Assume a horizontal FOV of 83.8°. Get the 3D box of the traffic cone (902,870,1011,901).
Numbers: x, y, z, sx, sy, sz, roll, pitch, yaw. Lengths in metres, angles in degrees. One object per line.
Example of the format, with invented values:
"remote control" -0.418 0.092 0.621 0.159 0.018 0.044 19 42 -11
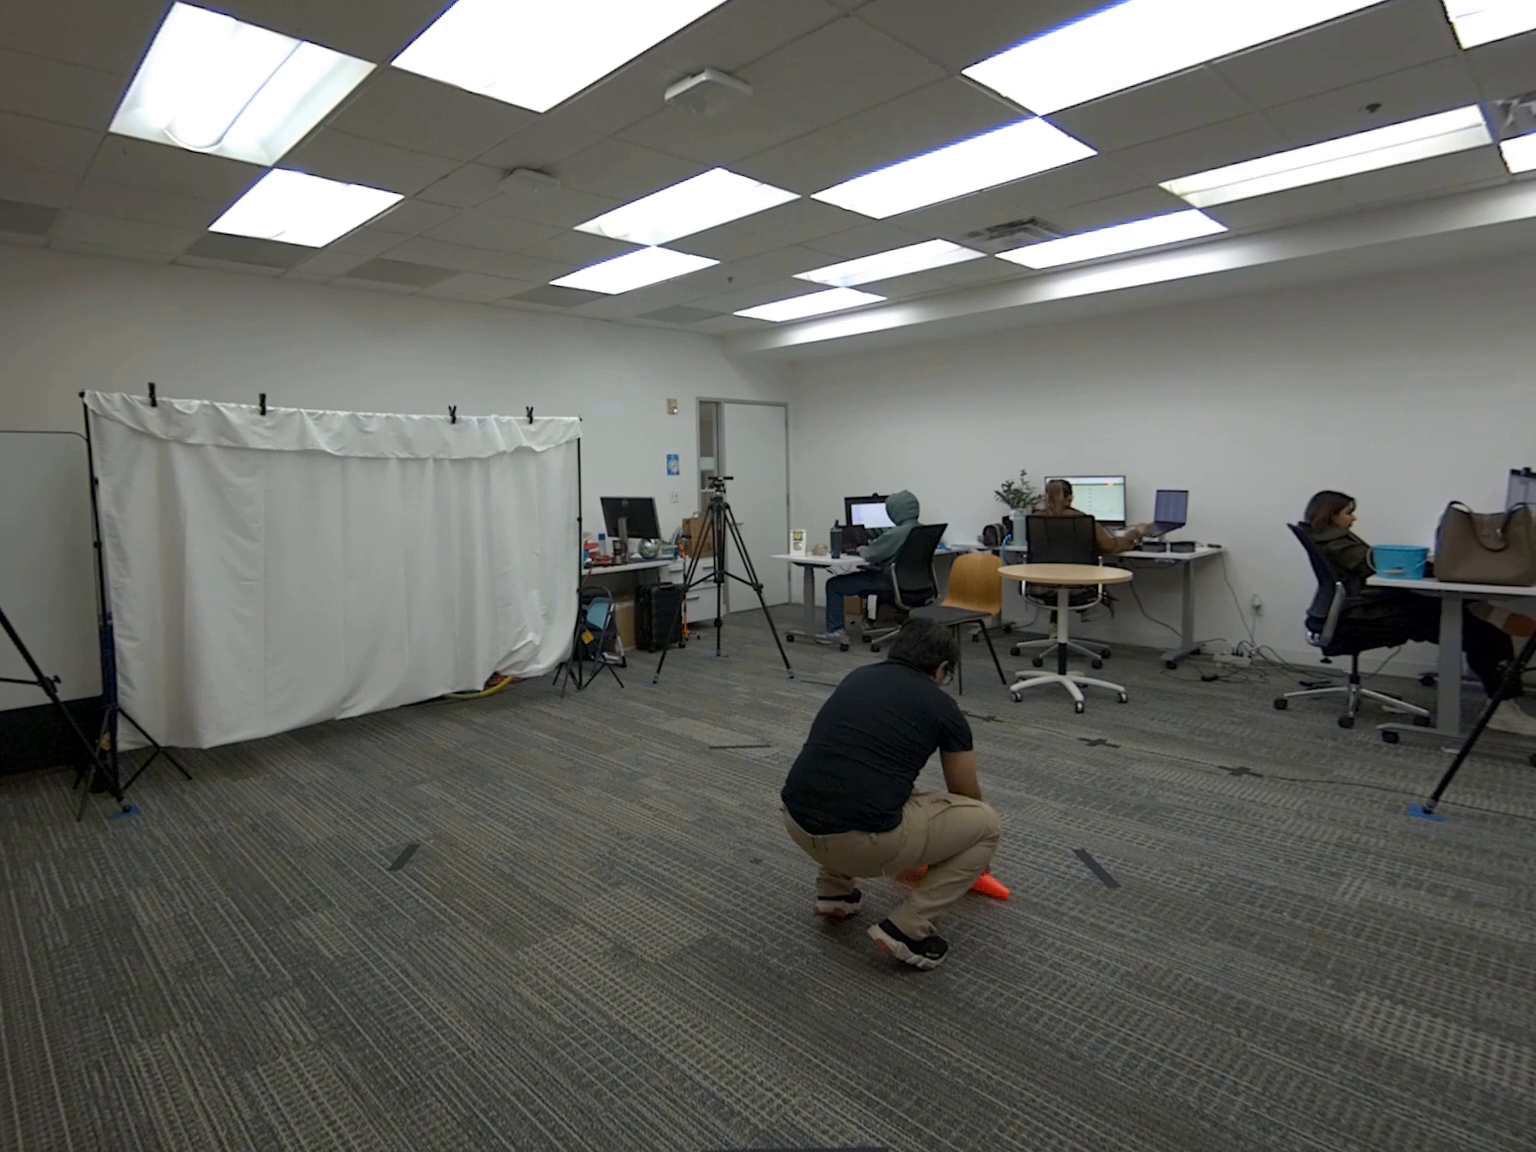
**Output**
"traffic cone" 0.652 0.992 2.906 0.397 0.203 0.198 23 4 34
